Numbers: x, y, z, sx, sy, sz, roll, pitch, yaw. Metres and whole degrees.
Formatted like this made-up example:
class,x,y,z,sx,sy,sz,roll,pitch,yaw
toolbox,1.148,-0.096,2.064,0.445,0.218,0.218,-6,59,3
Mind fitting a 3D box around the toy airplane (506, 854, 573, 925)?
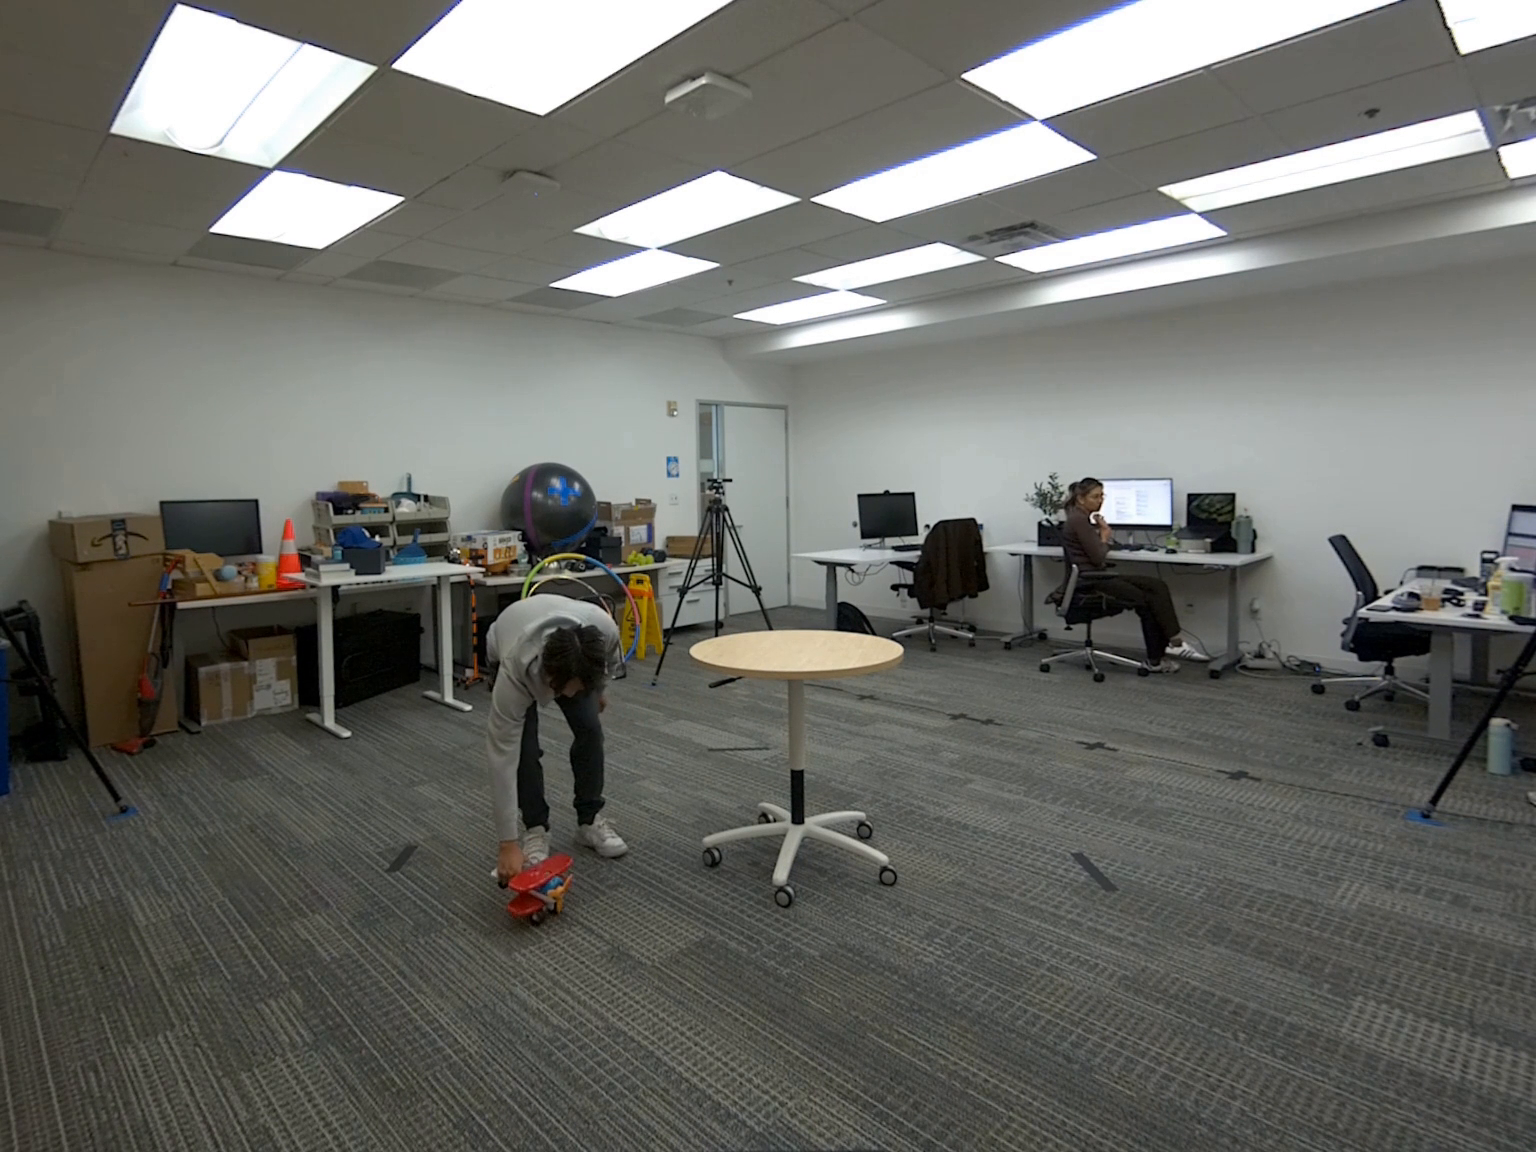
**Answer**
class,x,y,z,sx,sy,sz,roll,pitch,yaw
toy airplane,-0.774,1.003,2.755,0.259,0.155,0.253,18,16,-2
